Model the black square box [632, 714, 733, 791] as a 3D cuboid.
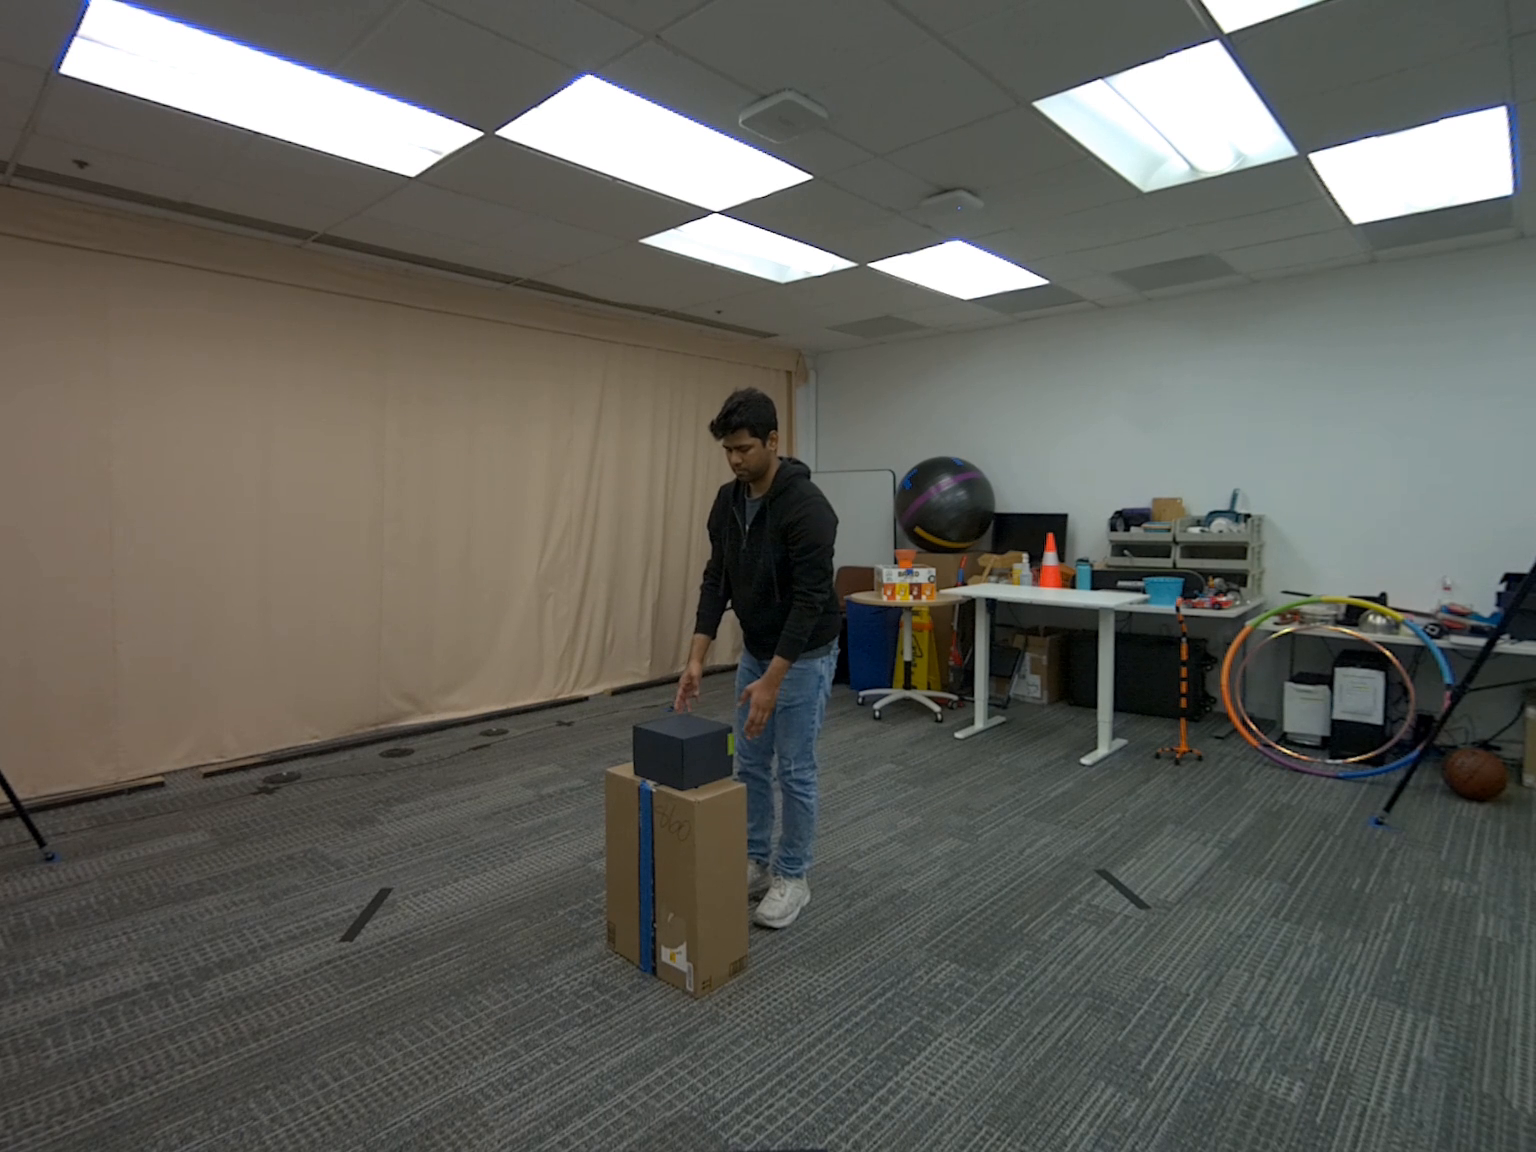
[{"bbox_3d":[-0.259,0.535,2.581,0.235,0.155,0.210,3,5,43],"label":"black square box"}]
